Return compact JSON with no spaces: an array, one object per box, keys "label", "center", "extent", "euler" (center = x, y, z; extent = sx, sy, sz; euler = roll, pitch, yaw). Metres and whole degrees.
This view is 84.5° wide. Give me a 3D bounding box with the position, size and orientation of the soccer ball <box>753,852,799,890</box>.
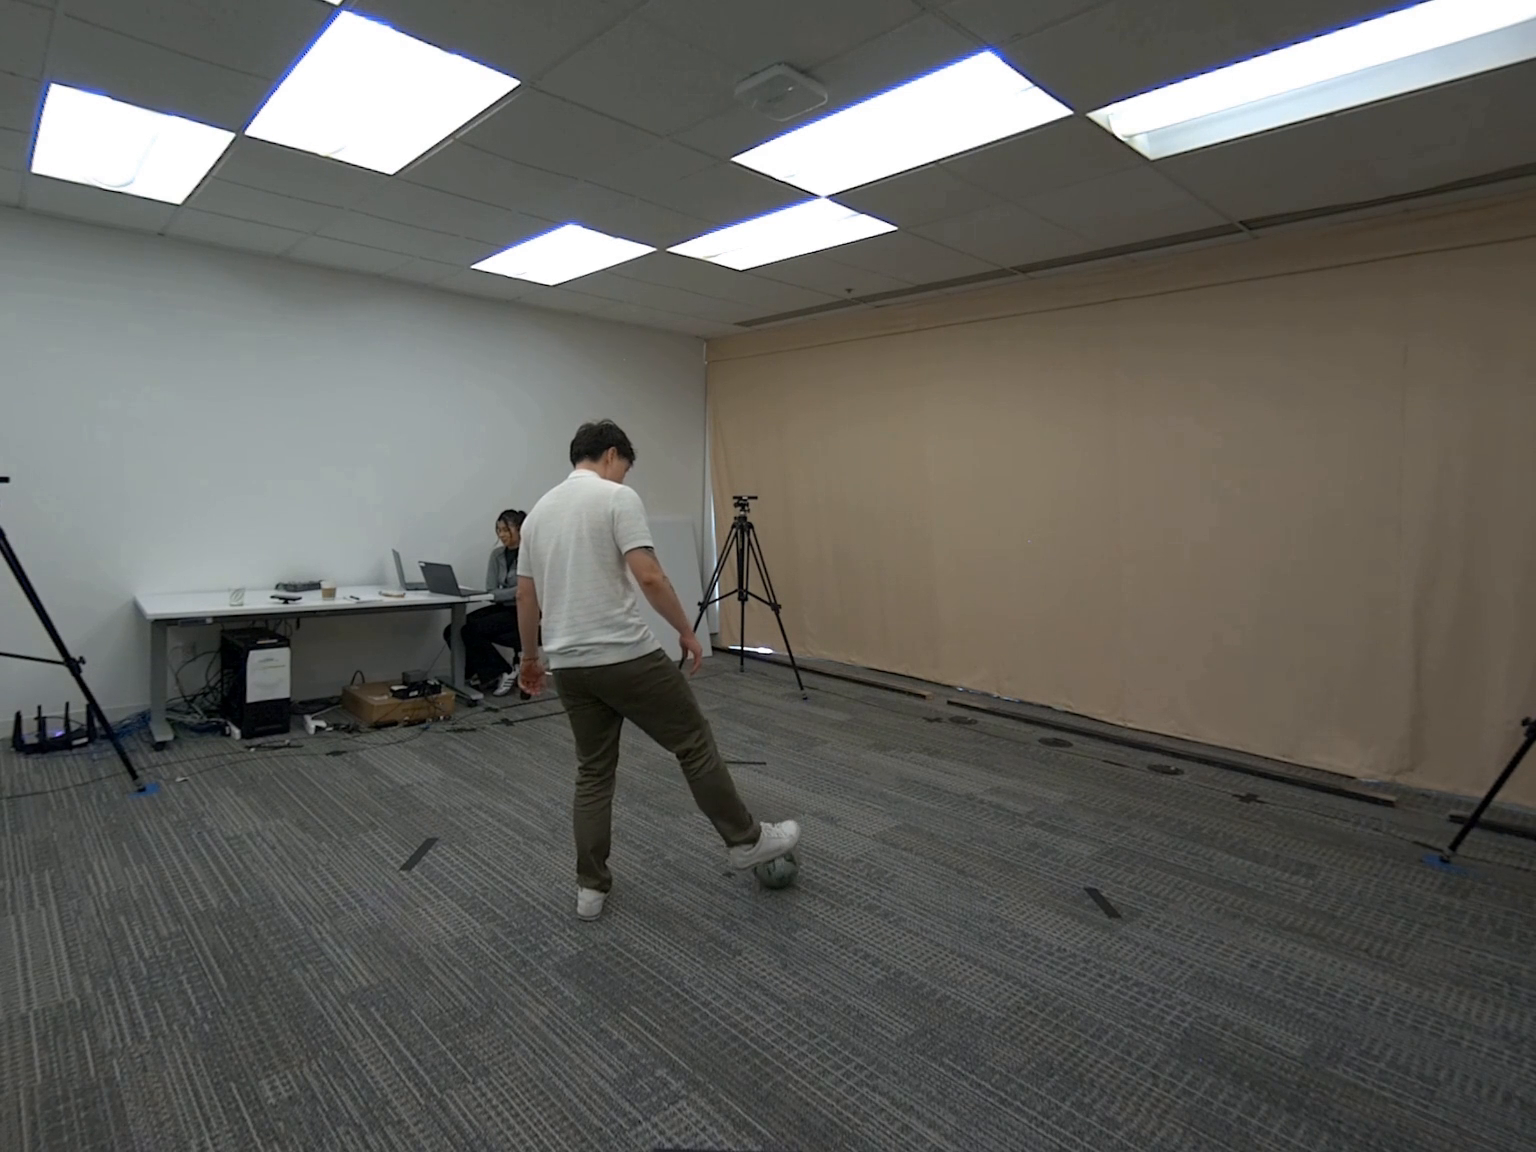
[{"label":"soccer ball","center":[0.005,1.022,3.023],"extent":[0.187,0.187,0.188],"euler":[1,4,-1]}]
